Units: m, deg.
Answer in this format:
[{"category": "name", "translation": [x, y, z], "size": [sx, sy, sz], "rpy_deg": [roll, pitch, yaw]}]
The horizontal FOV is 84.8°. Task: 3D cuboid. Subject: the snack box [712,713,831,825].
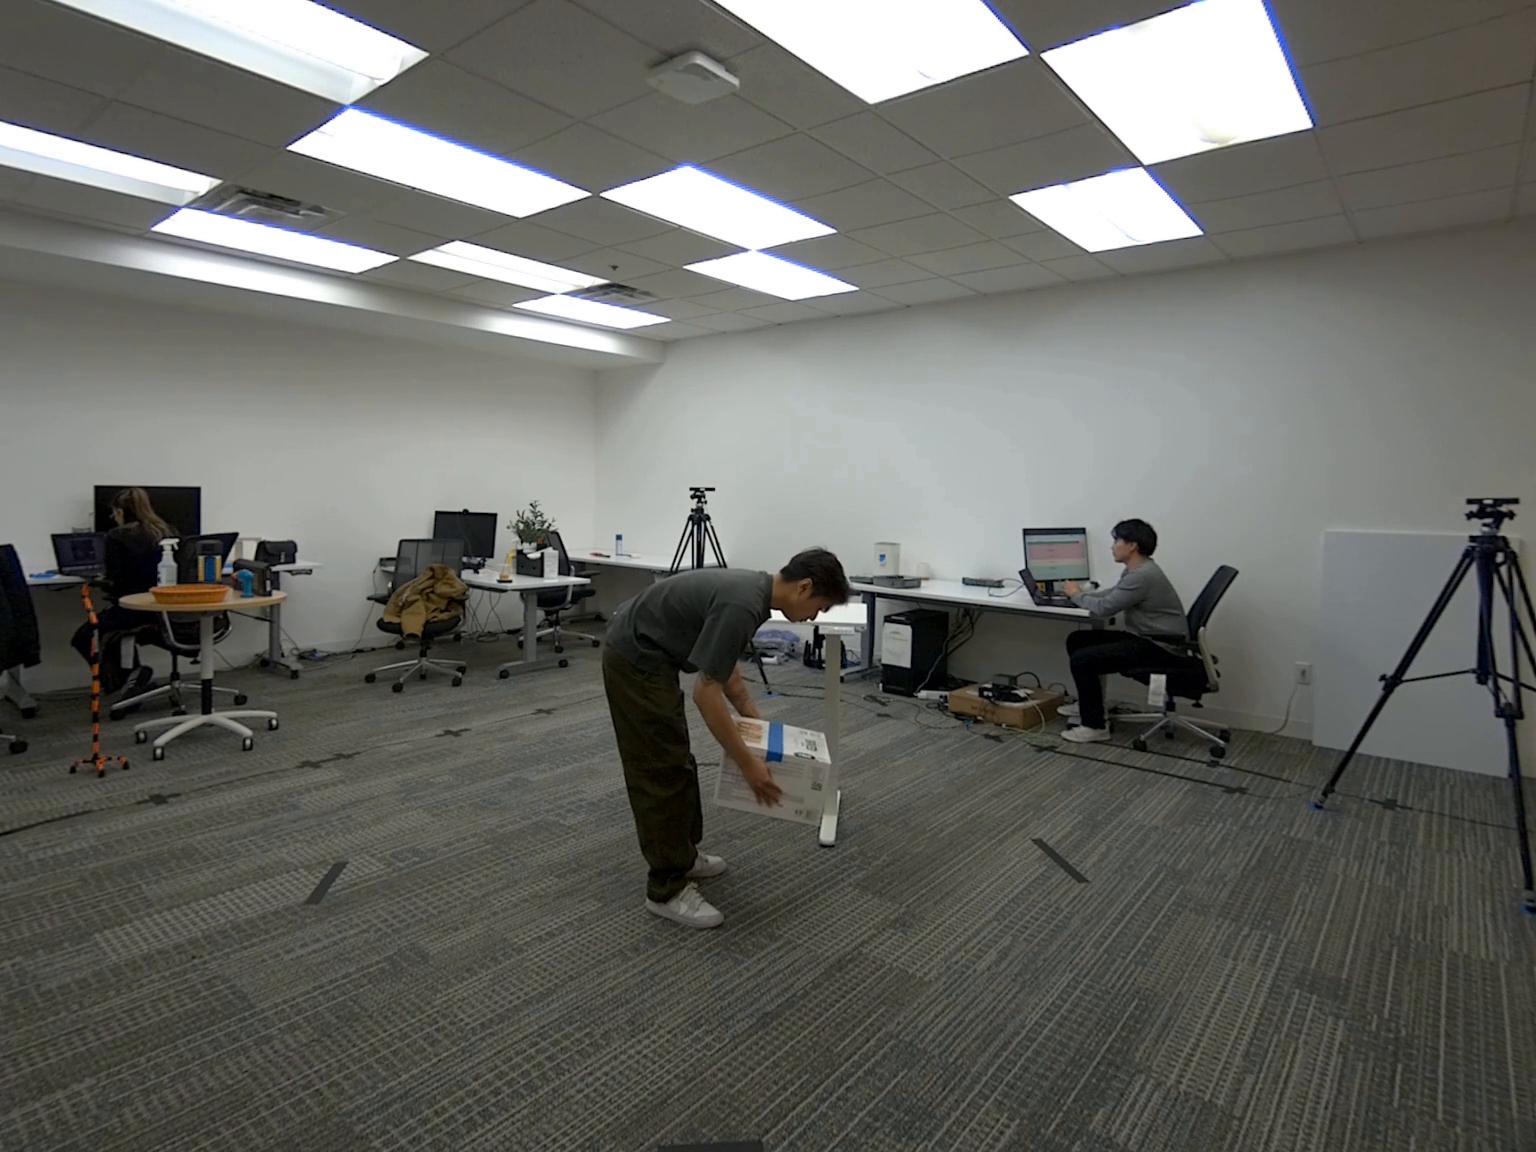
[{"category": "snack box", "translation": [0.011, 0.633, 2.831], "size": [0.342, 0.205, 0.404], "rpy_deg": [9, 3, 2]}]
